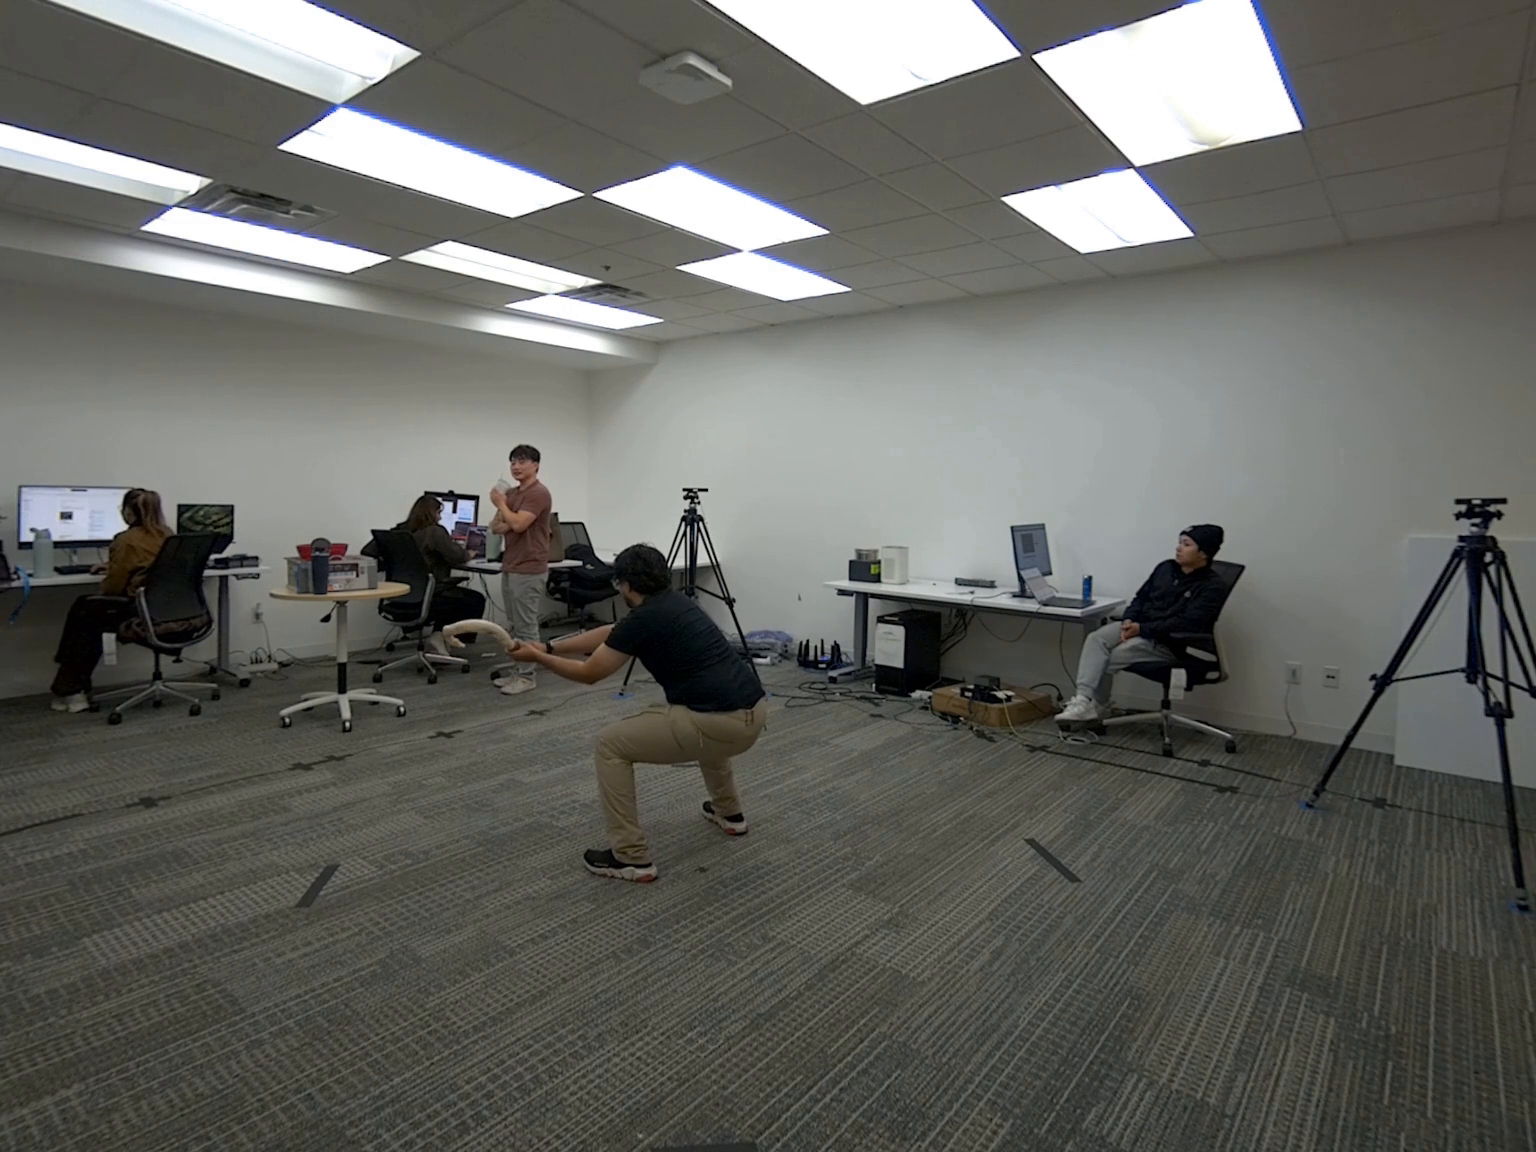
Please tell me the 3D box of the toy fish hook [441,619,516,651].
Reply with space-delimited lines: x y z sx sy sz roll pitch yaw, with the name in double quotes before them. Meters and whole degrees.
"toy fish hook" -1.088 0.255 3.323 0.228 0.049 0.488 -10 -24 15
